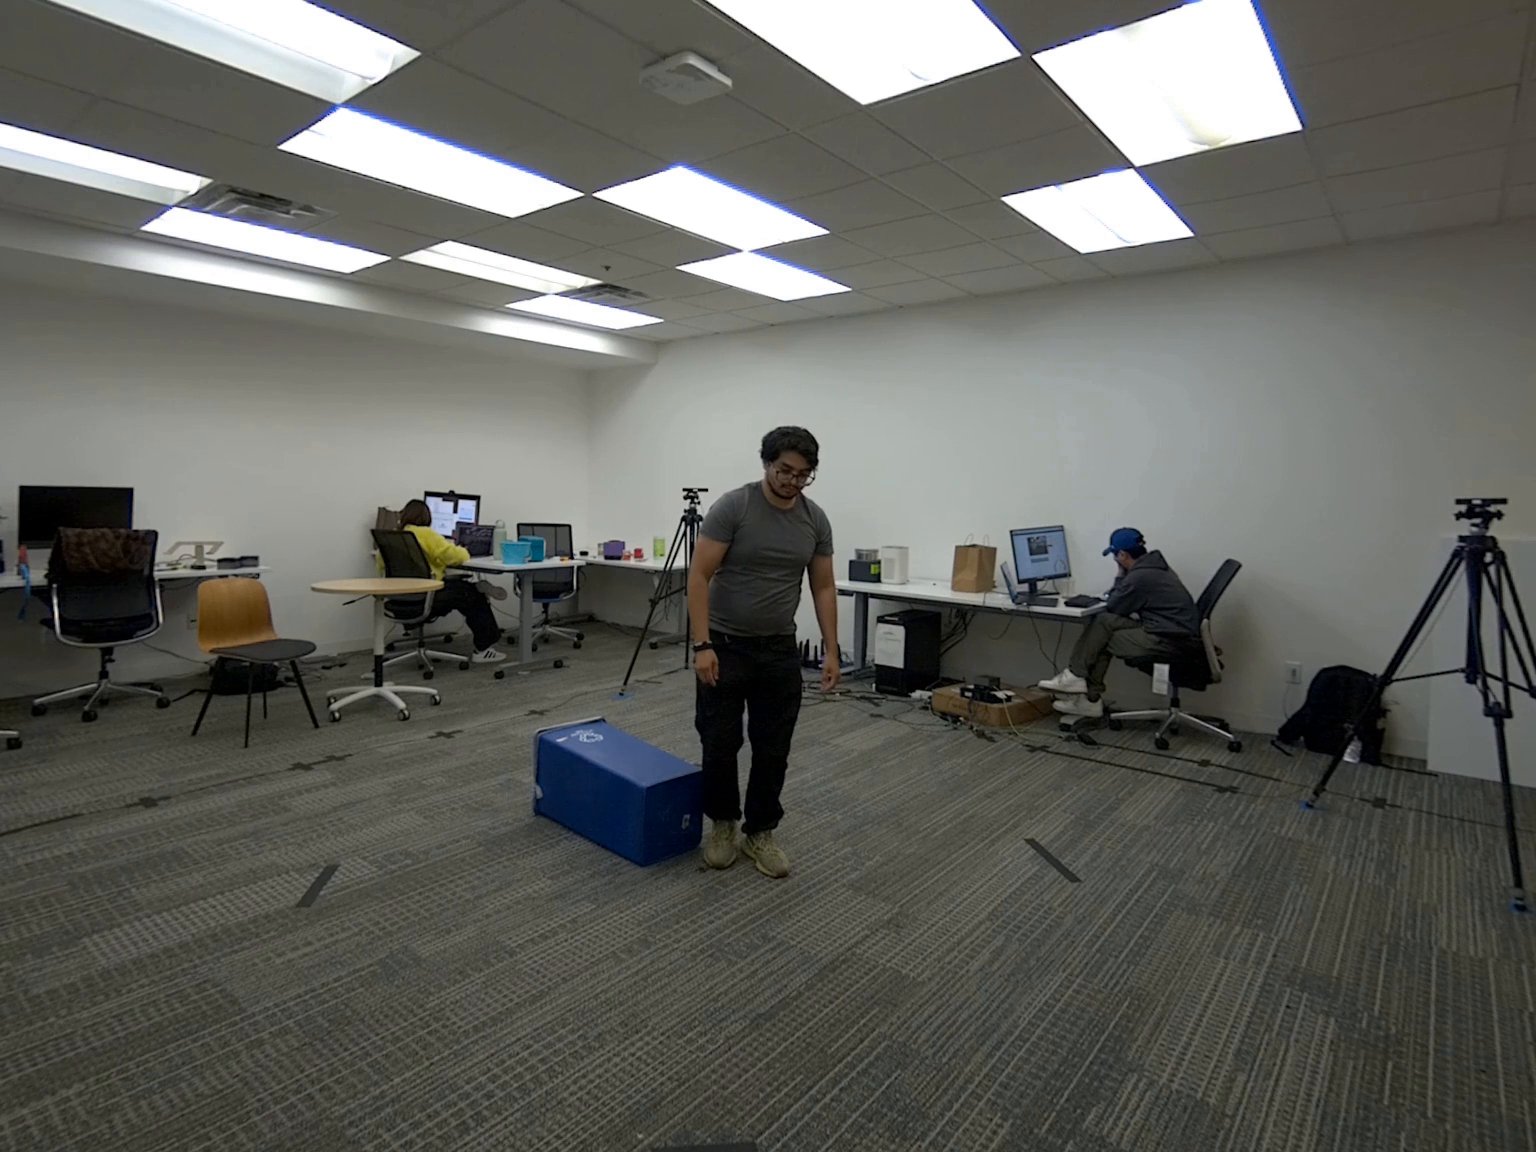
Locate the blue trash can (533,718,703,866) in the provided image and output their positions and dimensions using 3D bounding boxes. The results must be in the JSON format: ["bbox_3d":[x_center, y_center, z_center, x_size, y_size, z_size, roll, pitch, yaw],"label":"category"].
[{"bbox_3d":[-0.623,0.851,3.453,0.739,0.372,0.366,8,7,44],"label":"blue trash can"}]
